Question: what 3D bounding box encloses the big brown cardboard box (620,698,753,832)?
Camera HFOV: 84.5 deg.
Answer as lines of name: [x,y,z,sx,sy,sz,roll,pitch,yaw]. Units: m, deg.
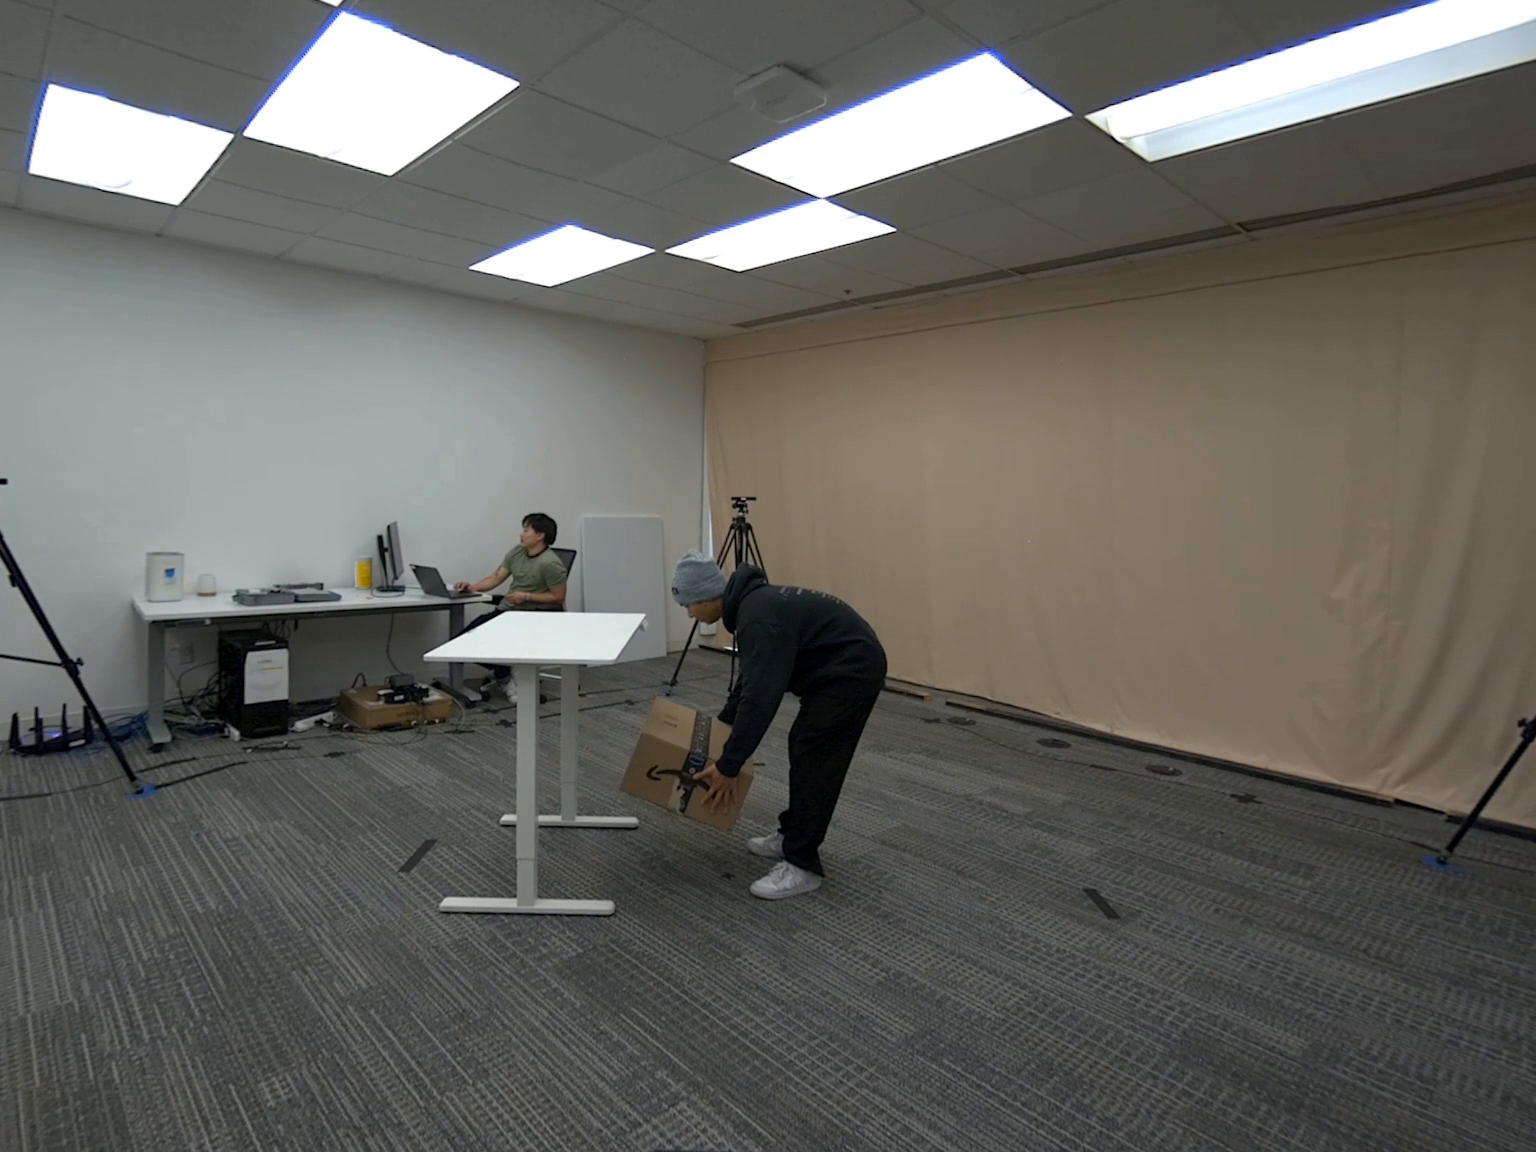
big brown cardboard box: [-0.289,0.682,3.148,0.418,0.233,0.589,20,3,-1]
